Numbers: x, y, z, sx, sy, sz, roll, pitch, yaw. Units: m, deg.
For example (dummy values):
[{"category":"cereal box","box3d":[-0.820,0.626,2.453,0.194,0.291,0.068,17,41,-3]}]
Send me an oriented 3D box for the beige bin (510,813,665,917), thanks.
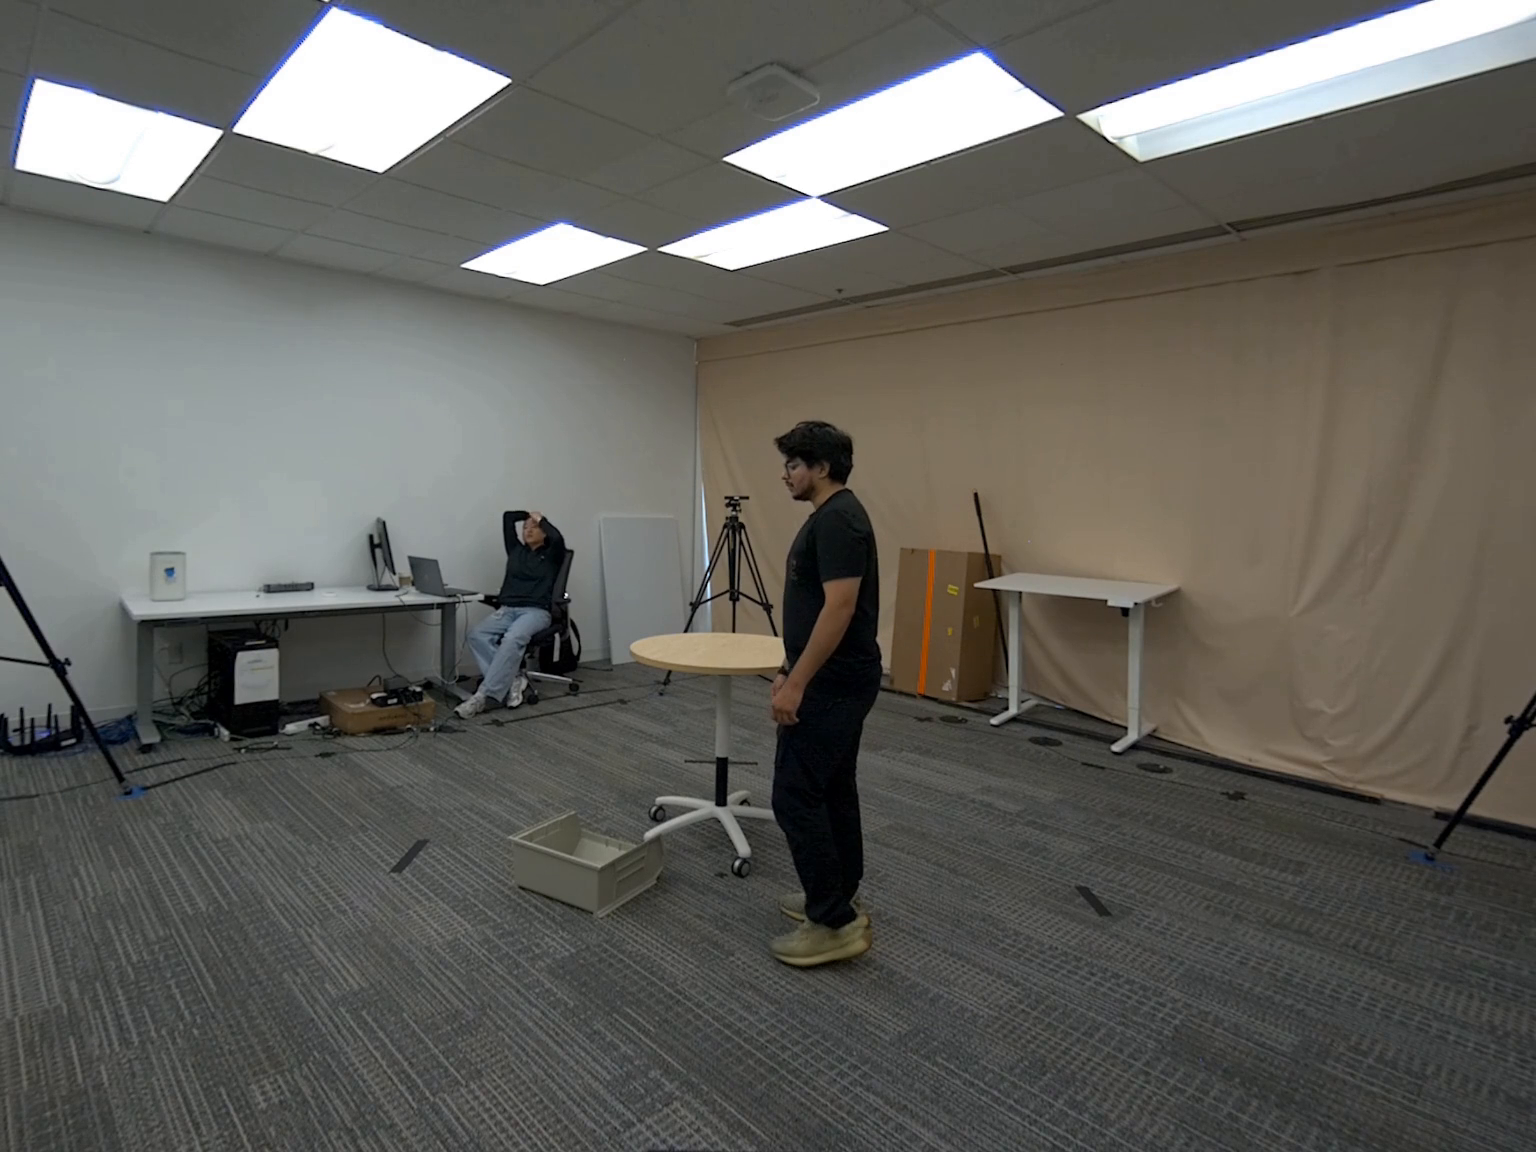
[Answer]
[{"category":"beige bin","box3d":[-0.650,1.013,3.018,0.432,0.188,0.370,5,7,30]}]
